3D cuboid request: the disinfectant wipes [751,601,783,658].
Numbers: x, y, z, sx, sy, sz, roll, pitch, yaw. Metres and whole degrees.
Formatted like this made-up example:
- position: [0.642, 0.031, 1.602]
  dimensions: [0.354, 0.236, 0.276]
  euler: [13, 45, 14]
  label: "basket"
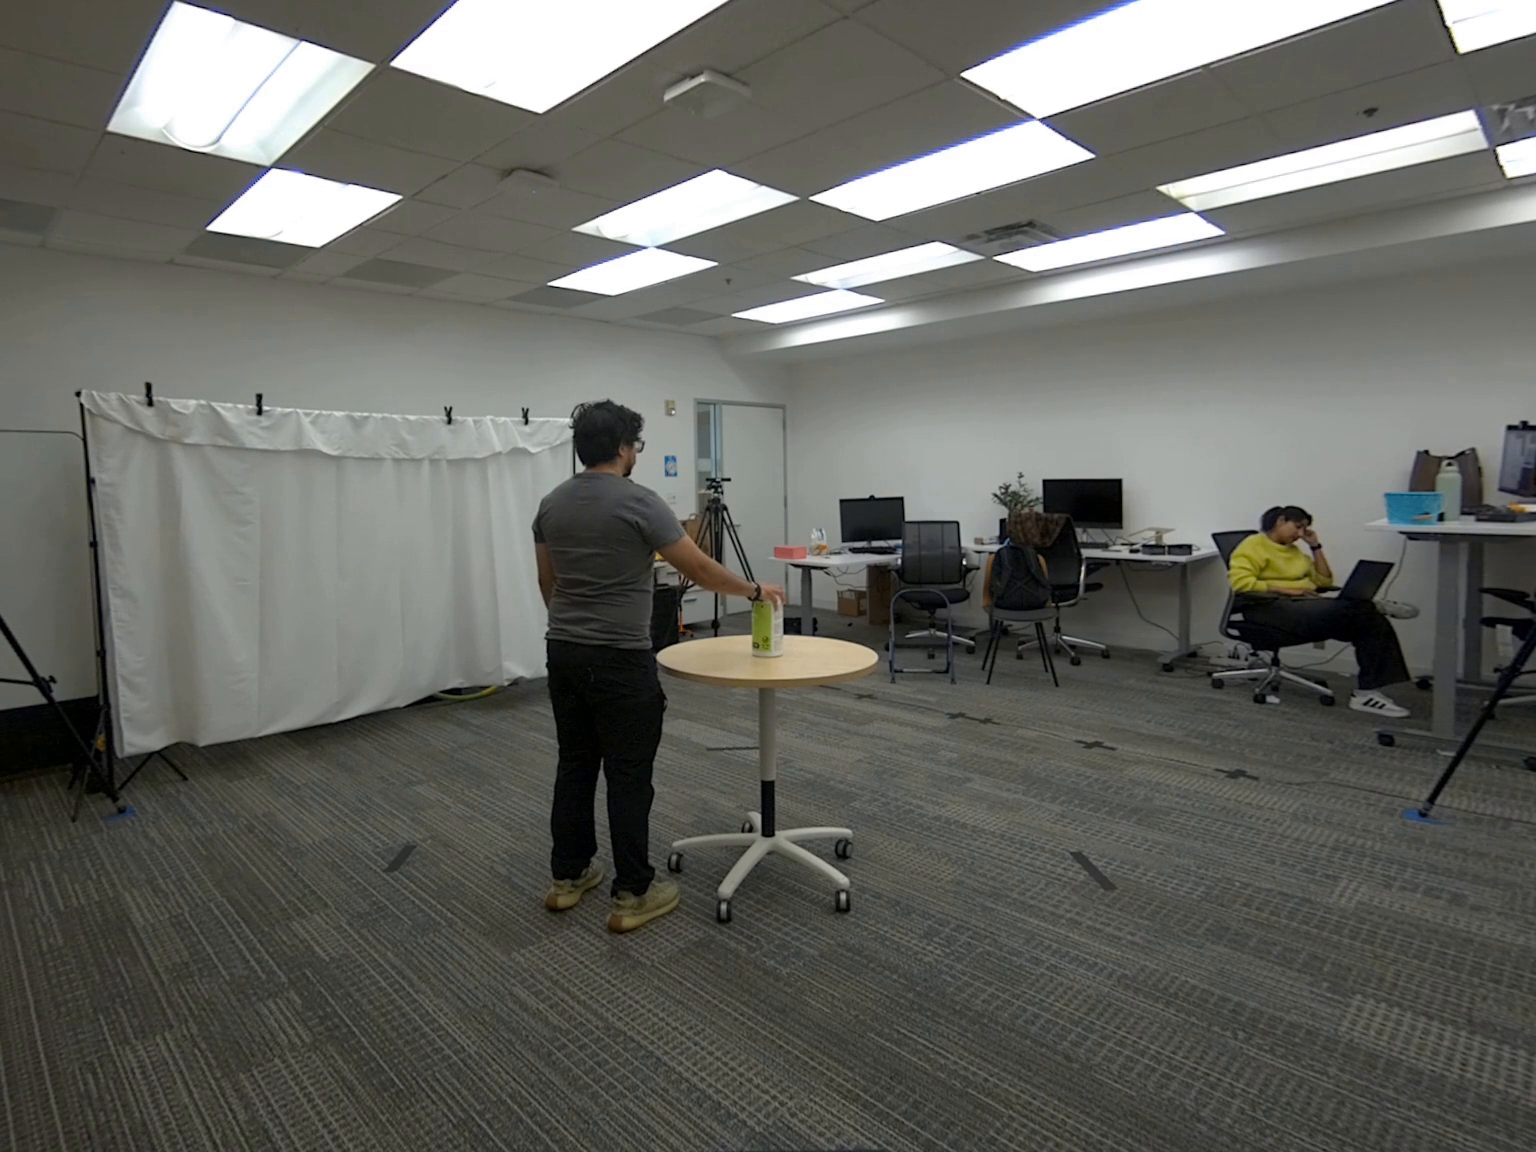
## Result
- position: [0.001, 0.170, 2.968]
  dimensions: [0.117, 0.216, 0.118]
  euler: [2, 5, -2]
  label: "disinfectant wipes"
